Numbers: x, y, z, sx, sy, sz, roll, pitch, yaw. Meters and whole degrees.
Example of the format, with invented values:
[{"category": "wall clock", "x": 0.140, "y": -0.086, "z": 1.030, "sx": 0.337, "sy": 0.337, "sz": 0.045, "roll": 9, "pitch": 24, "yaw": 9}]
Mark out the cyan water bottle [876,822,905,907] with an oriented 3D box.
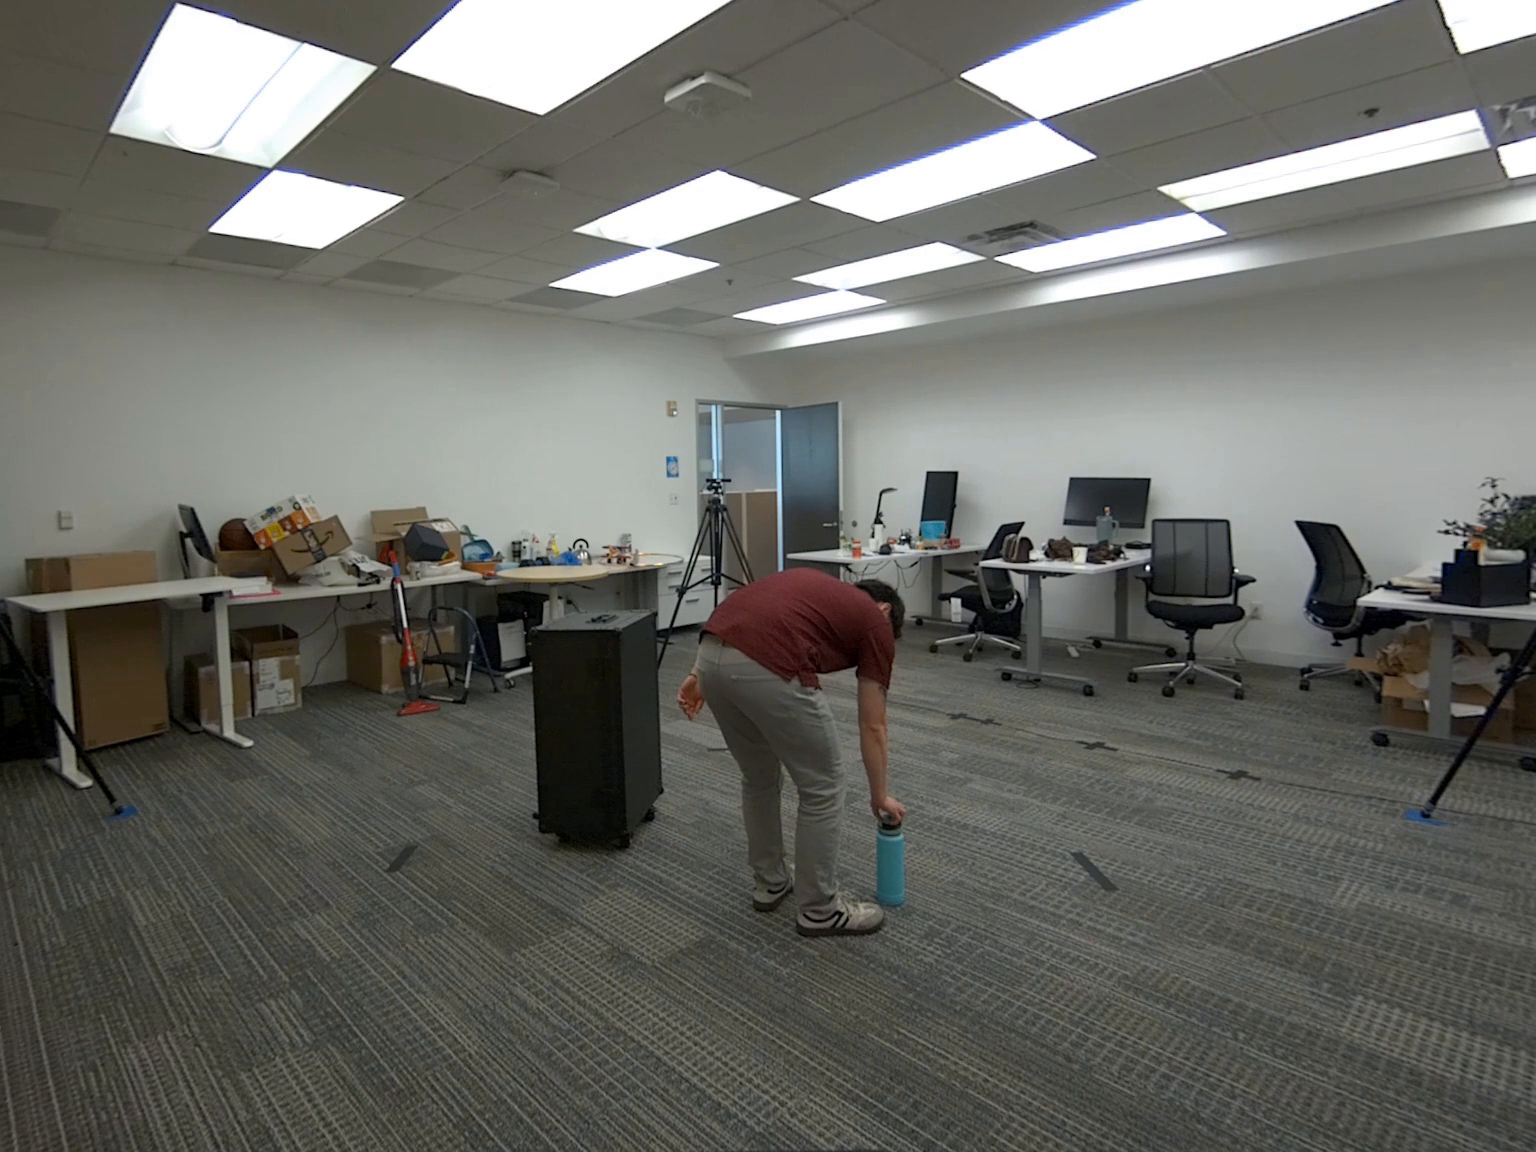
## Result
[{"category": "cyan water bottle", "x": 0.397, "y": 0.923, "z": 2.821, "sx": 0.092, "sy": 0.282, "sz": 0.093, "roll": -5, "pitch": 3, "yaw": -1}]
